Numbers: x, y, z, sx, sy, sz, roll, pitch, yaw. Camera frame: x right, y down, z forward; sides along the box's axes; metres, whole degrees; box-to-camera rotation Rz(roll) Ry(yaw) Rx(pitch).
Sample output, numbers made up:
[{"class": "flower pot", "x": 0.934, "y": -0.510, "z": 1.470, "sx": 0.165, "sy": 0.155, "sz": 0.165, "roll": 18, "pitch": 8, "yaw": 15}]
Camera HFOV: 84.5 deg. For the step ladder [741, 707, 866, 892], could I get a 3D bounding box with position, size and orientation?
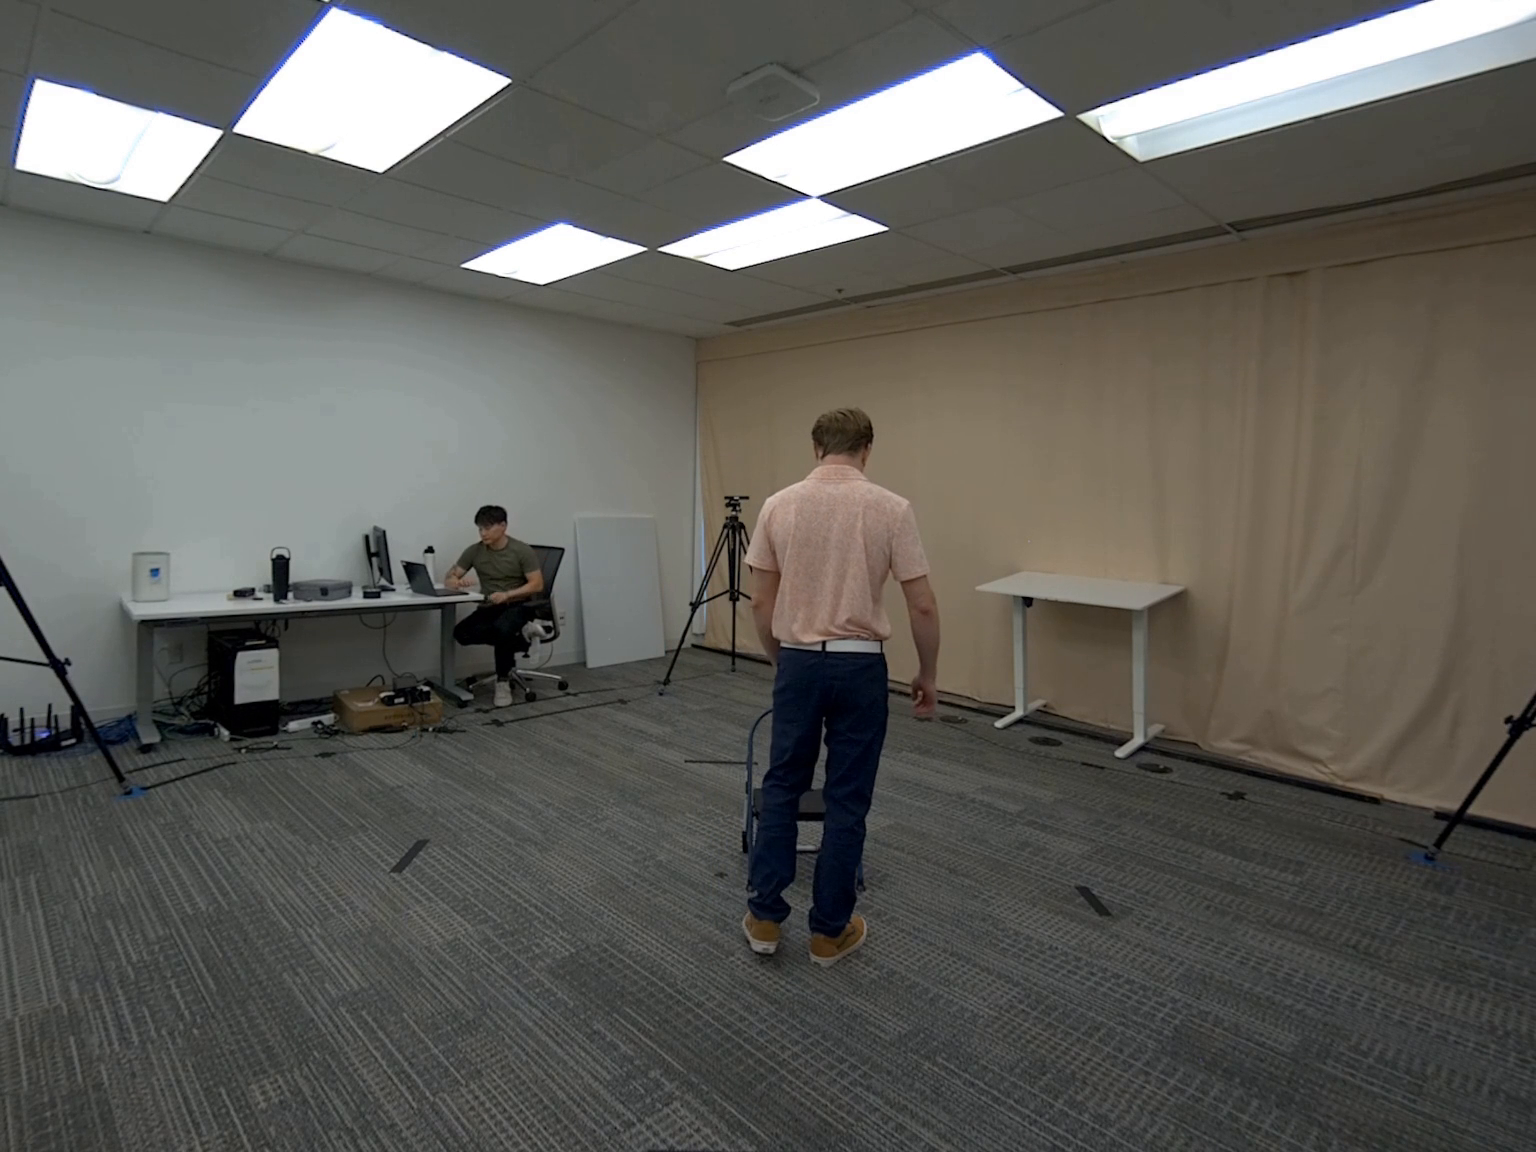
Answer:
[{"class": "step ladder", "x": 0.126, "y": 0.807, "z": 3.146, "sx": 0.429, "sy": 0.605, "sz": 0.351, "roll": 2, "pitch": 3, "yaw": -5}]
